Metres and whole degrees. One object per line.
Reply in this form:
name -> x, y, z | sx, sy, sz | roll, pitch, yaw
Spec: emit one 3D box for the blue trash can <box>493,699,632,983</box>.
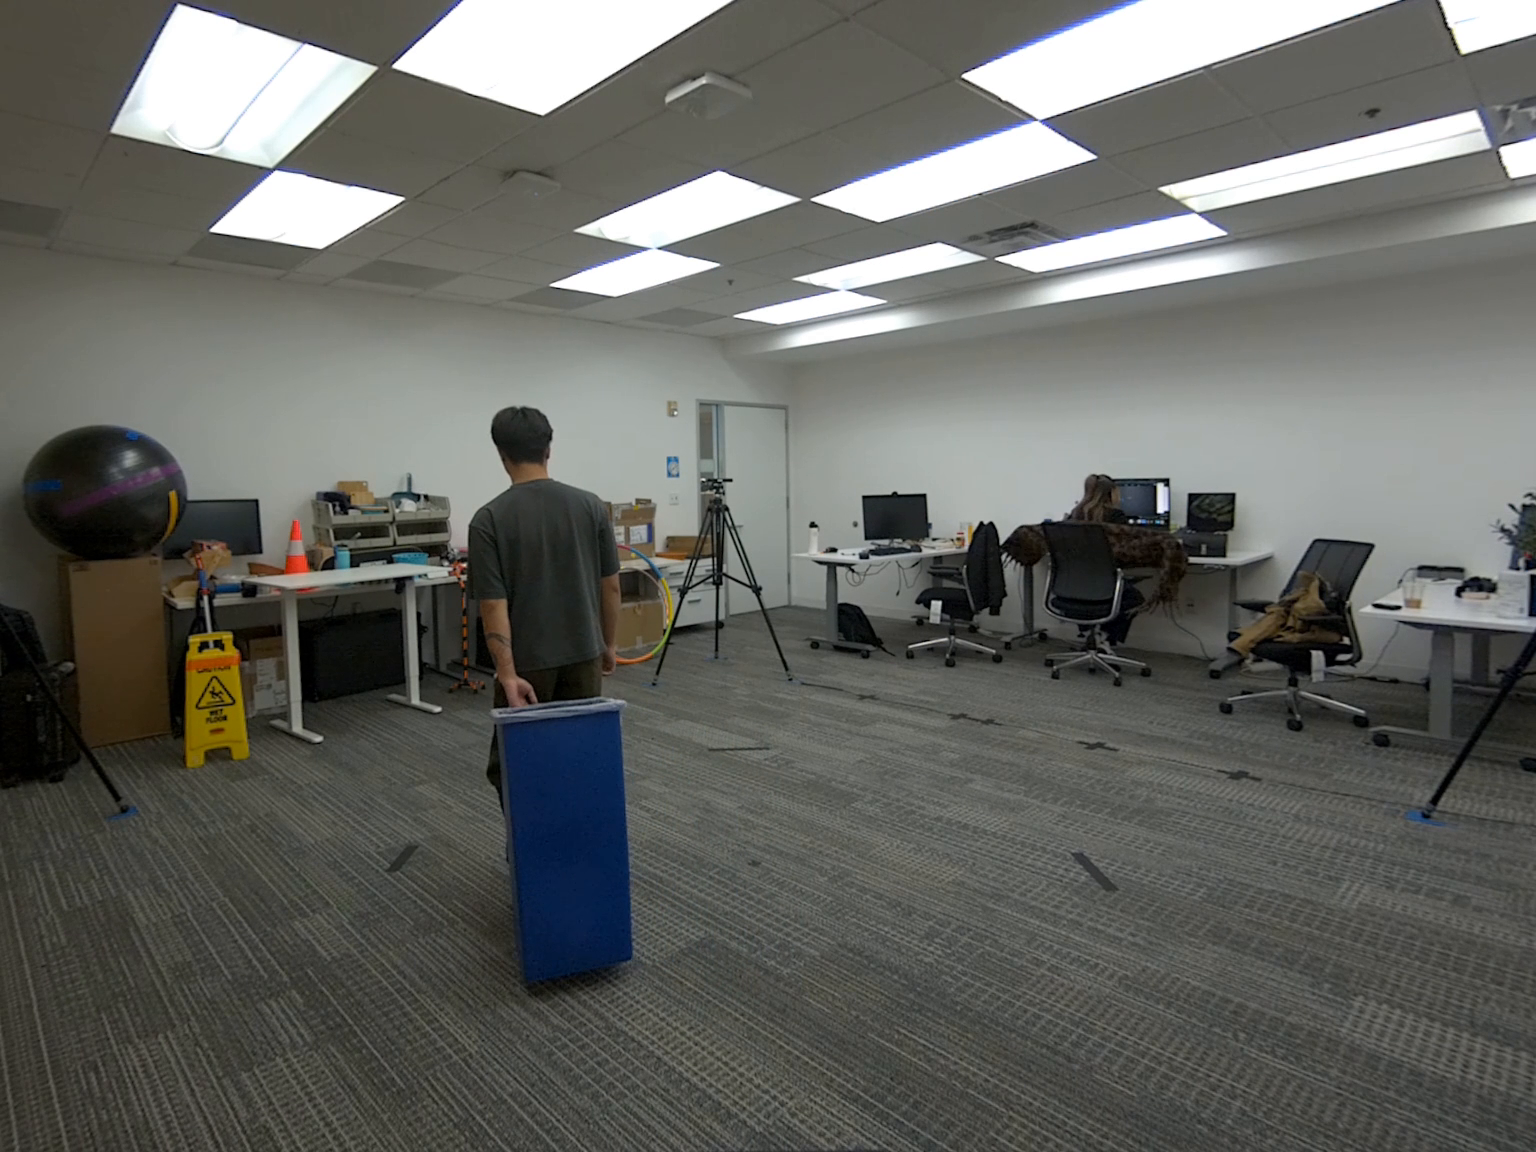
blue trash can -> -0.603, 0.744, 2.518 | 0.368, 0.720, 0.381 | -3, -8, -20
